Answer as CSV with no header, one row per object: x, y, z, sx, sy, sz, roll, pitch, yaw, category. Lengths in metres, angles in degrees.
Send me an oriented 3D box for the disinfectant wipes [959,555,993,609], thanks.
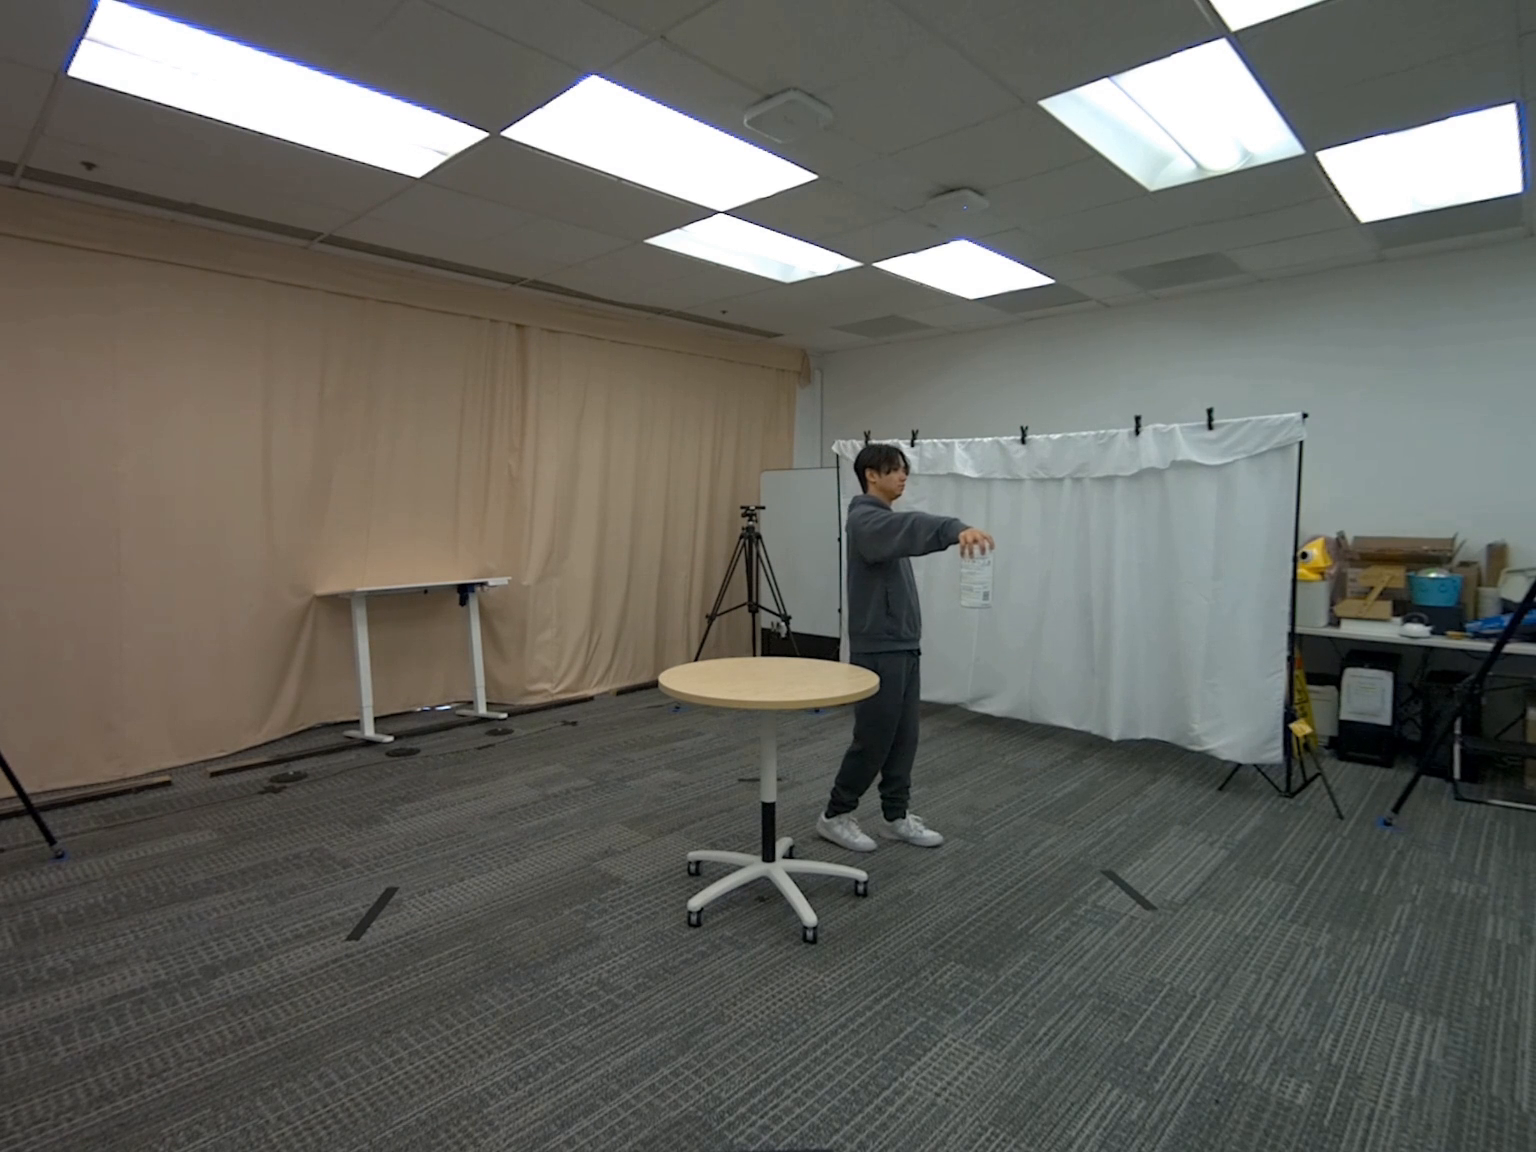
0.703,-0.003,2.847,0.118,0.216,0.118,0,8,-2,disinfectant wipes
